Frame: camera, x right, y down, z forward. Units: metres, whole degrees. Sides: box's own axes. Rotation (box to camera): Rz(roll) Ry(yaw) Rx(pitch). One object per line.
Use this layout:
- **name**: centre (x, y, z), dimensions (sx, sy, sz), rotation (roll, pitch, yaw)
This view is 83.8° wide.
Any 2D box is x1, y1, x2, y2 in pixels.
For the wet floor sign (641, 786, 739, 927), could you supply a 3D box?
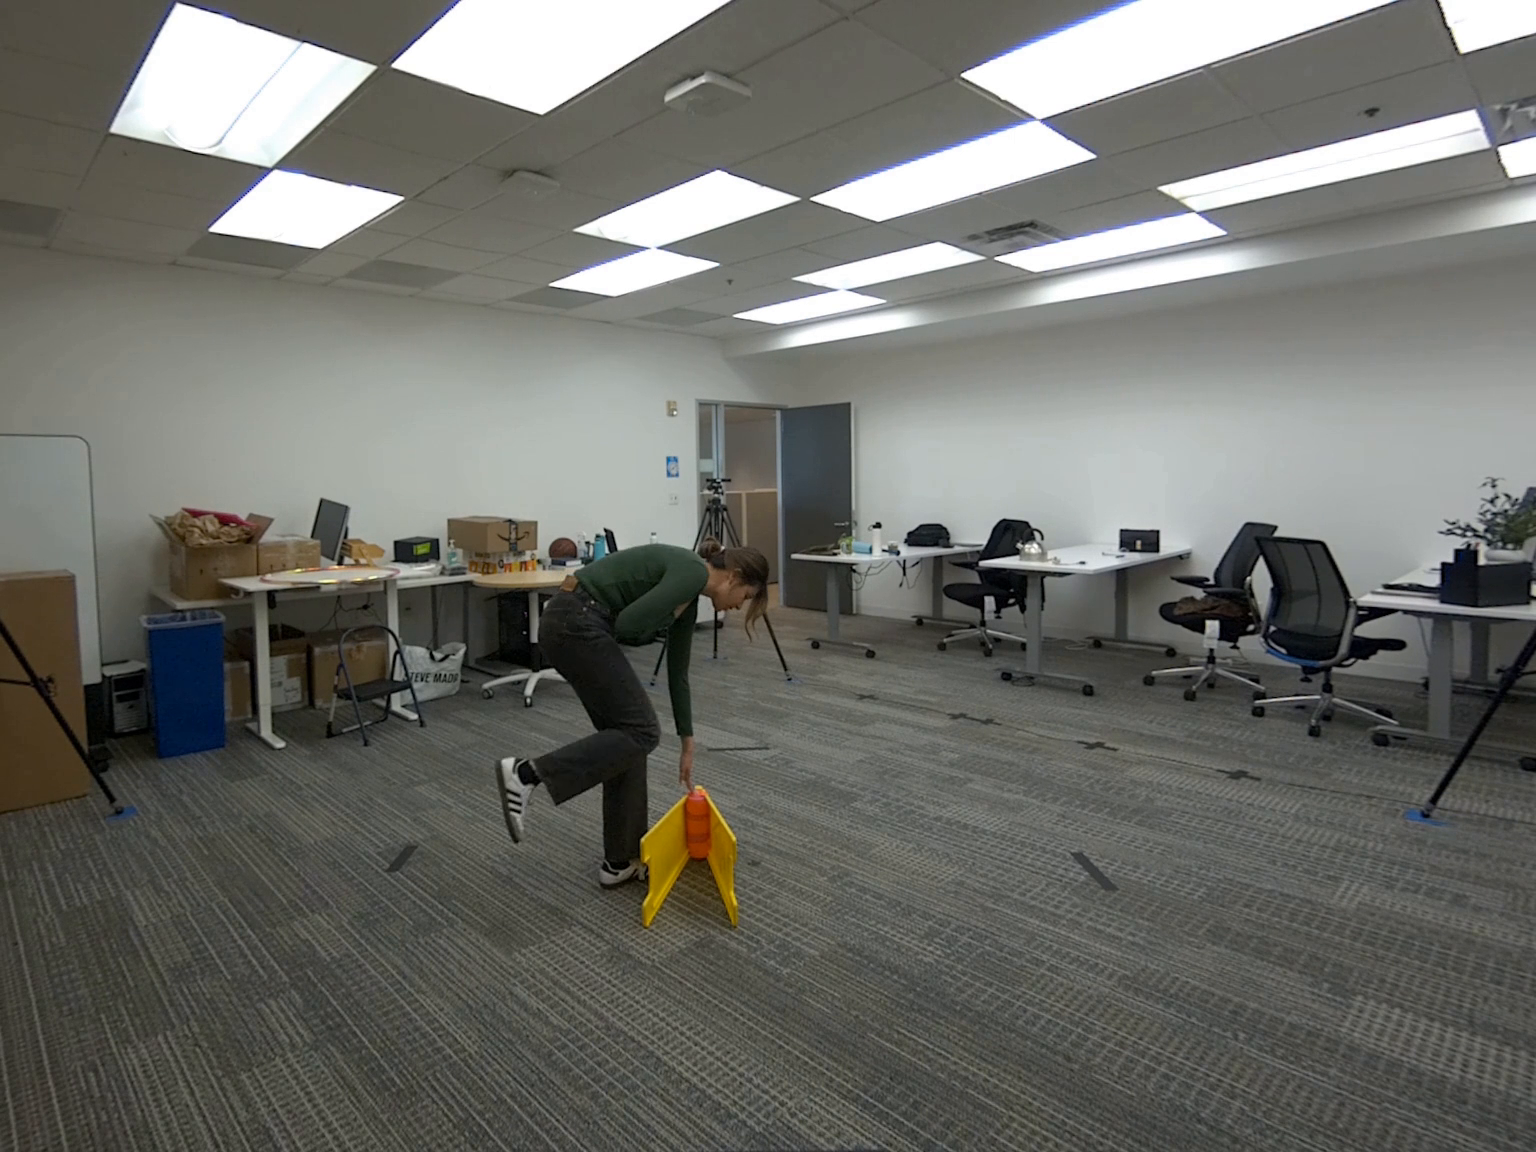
- **wet floor sign**: centre (-0.255, 0.928, 2.990), dimensions (0.289, 0.281, 0.648), rotation (-1, 4, -2)
